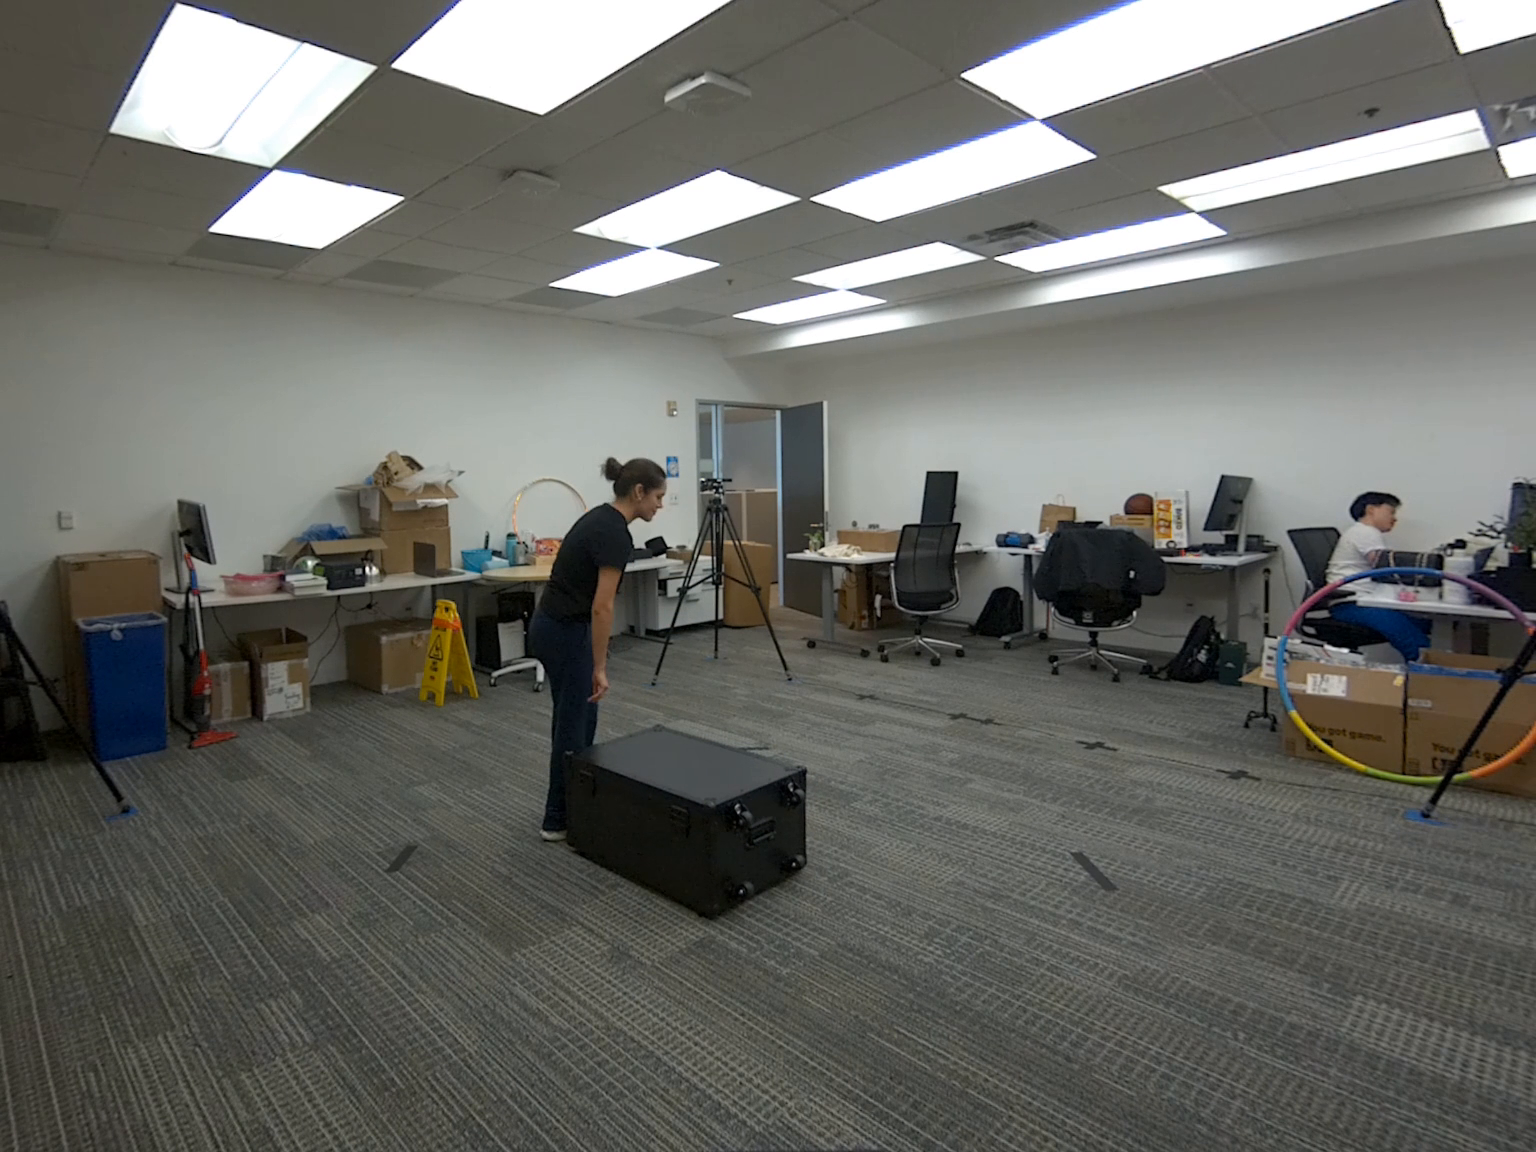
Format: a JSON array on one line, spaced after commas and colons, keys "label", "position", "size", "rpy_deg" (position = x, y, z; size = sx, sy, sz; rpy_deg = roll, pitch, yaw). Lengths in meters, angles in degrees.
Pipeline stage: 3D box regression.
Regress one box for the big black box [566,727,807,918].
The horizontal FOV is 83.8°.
[{"label": "big black box", "position": [-0.291, 0.858, 3.103], "size": [0.887, 0.395, 0.508], "rpy_deg": [3, 7, 42]}]
